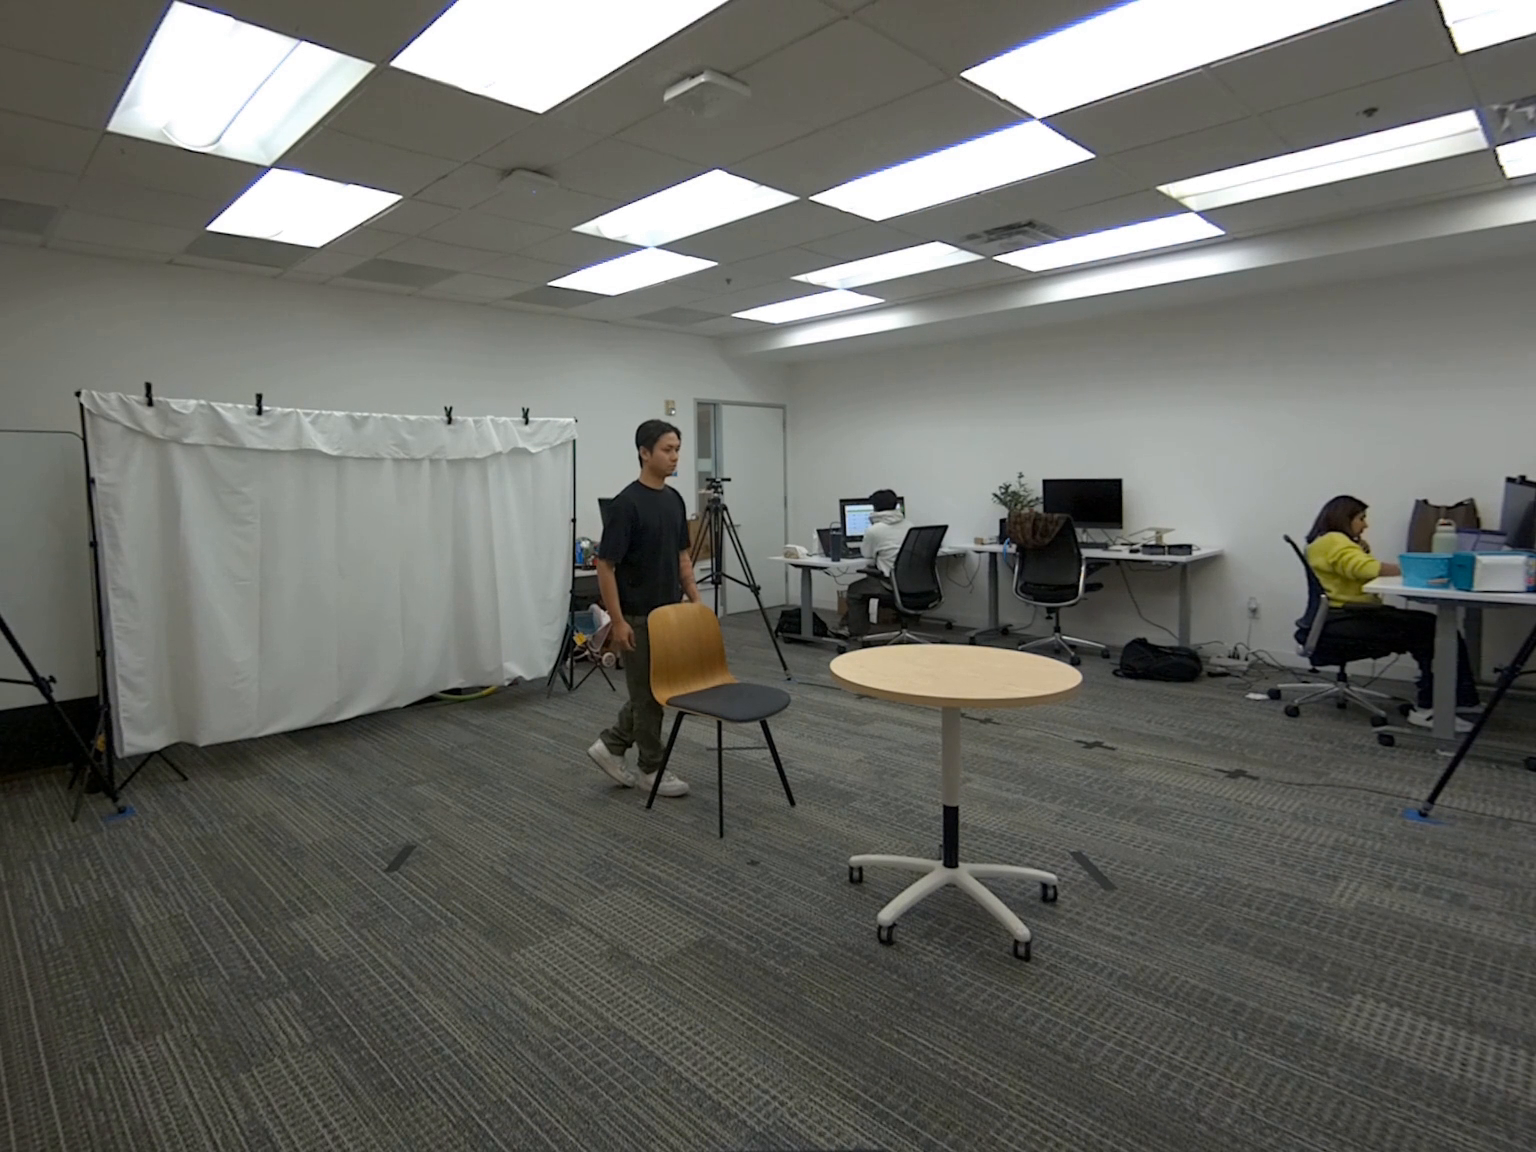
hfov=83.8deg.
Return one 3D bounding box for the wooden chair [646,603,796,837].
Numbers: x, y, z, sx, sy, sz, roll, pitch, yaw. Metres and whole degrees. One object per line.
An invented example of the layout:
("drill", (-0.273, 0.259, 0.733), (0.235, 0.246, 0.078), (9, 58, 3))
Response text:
("wooden chair", (-0.200, 0.560, 3.596), (0.537, 0.877, 0.465), (-4, 1, 43))
